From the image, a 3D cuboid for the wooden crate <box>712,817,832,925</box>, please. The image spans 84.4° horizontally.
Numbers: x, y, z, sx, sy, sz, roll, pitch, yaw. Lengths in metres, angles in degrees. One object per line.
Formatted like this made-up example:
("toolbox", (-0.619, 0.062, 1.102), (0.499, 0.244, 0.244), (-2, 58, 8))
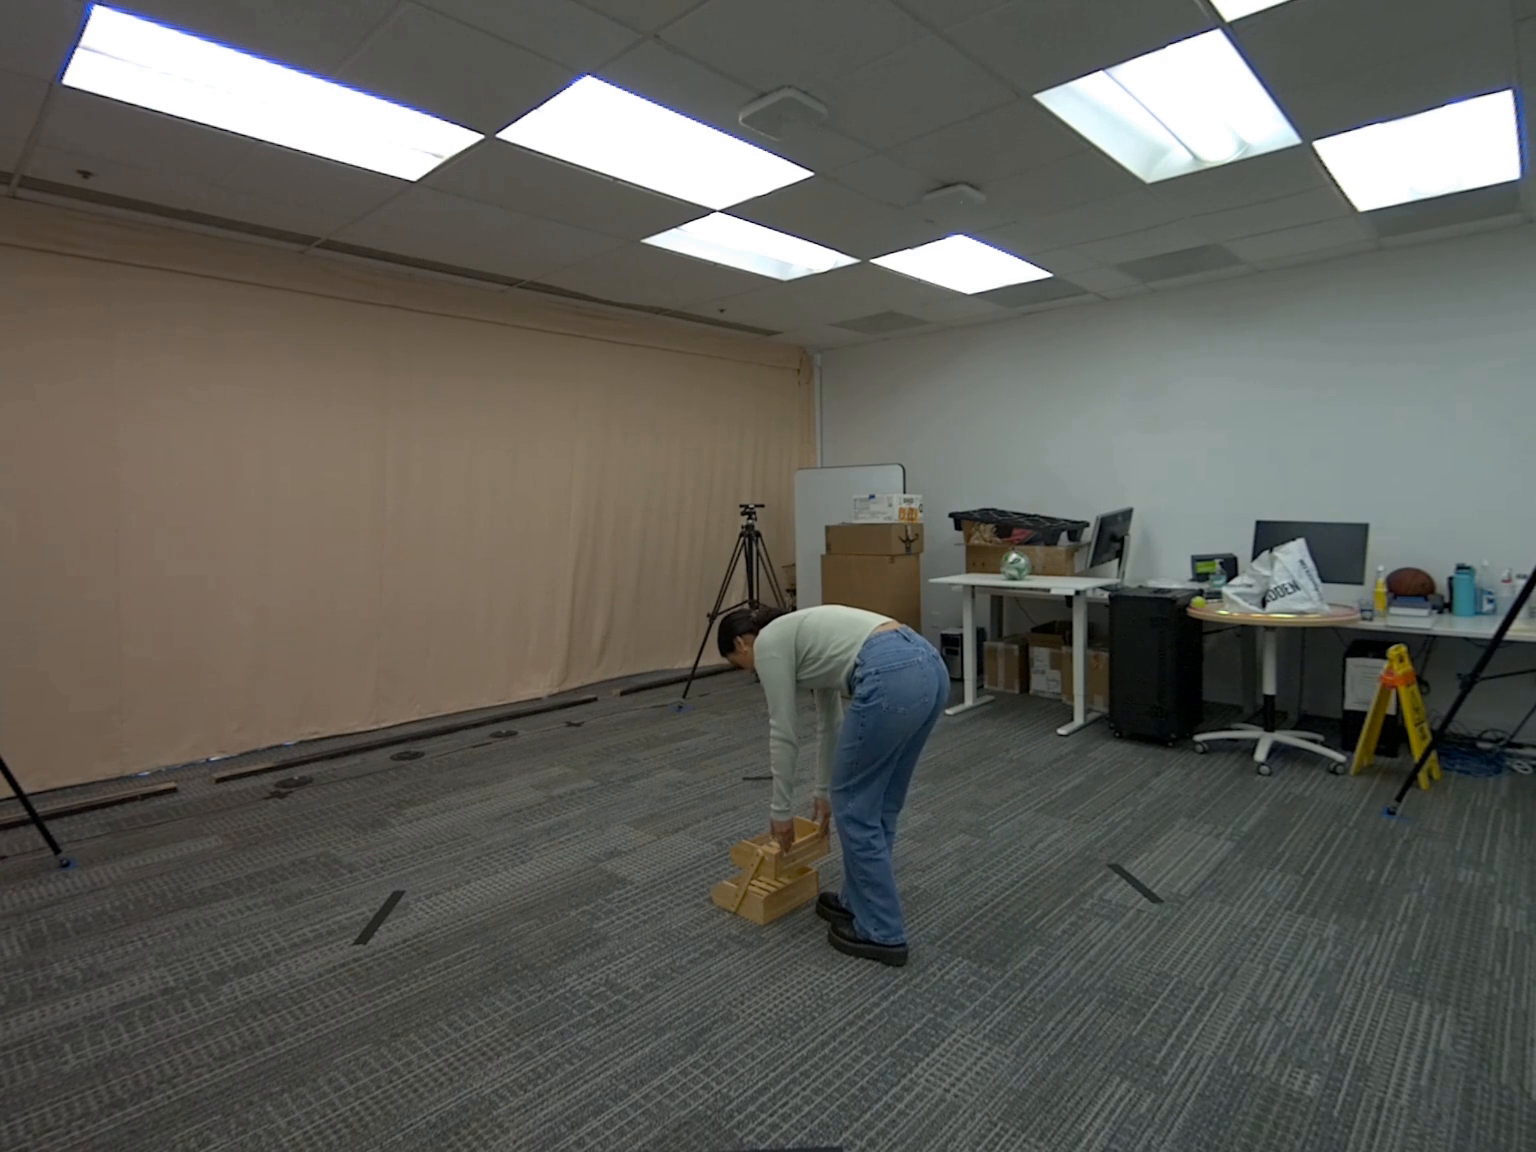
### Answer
("wooden crate", (0.008, 1.005, 2.950), (0.312, 0.272, 0.314), (4, 6, 43))
